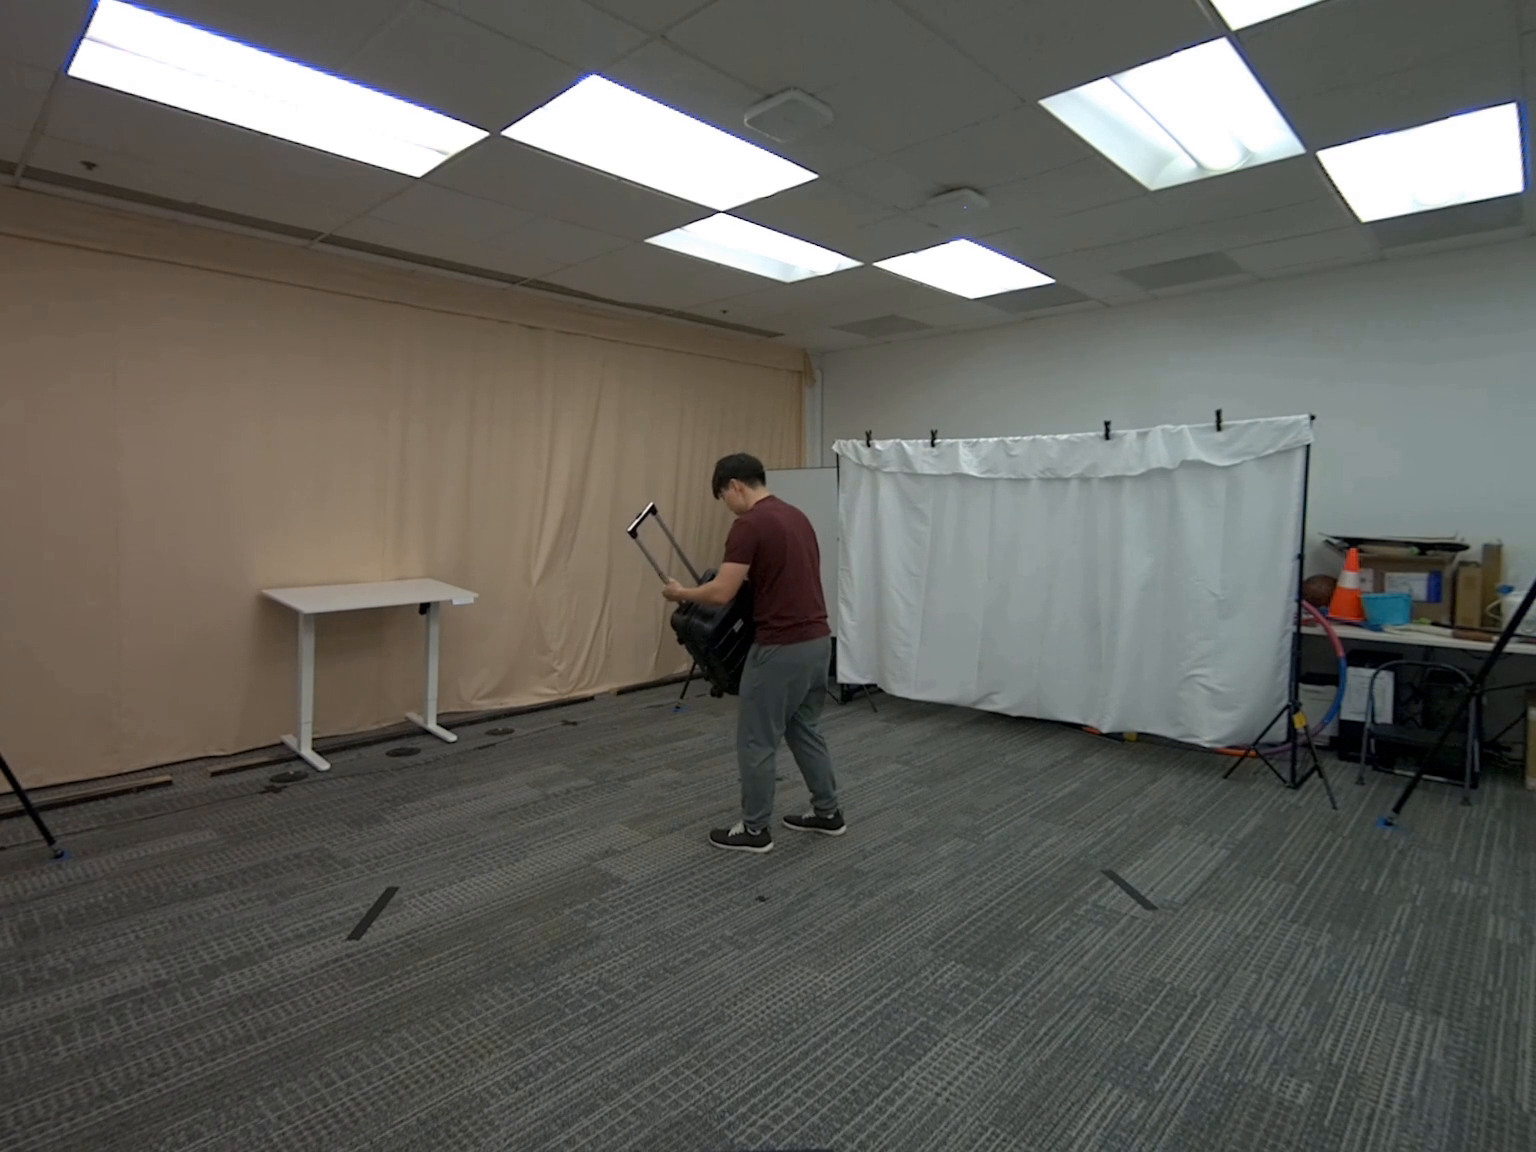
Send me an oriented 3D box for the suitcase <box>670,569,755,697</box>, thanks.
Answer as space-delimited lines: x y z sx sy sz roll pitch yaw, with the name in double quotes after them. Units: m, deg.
-0.232 0.118 3.514 0.266 0.949 0.382 19 58 42 "suitcase"
